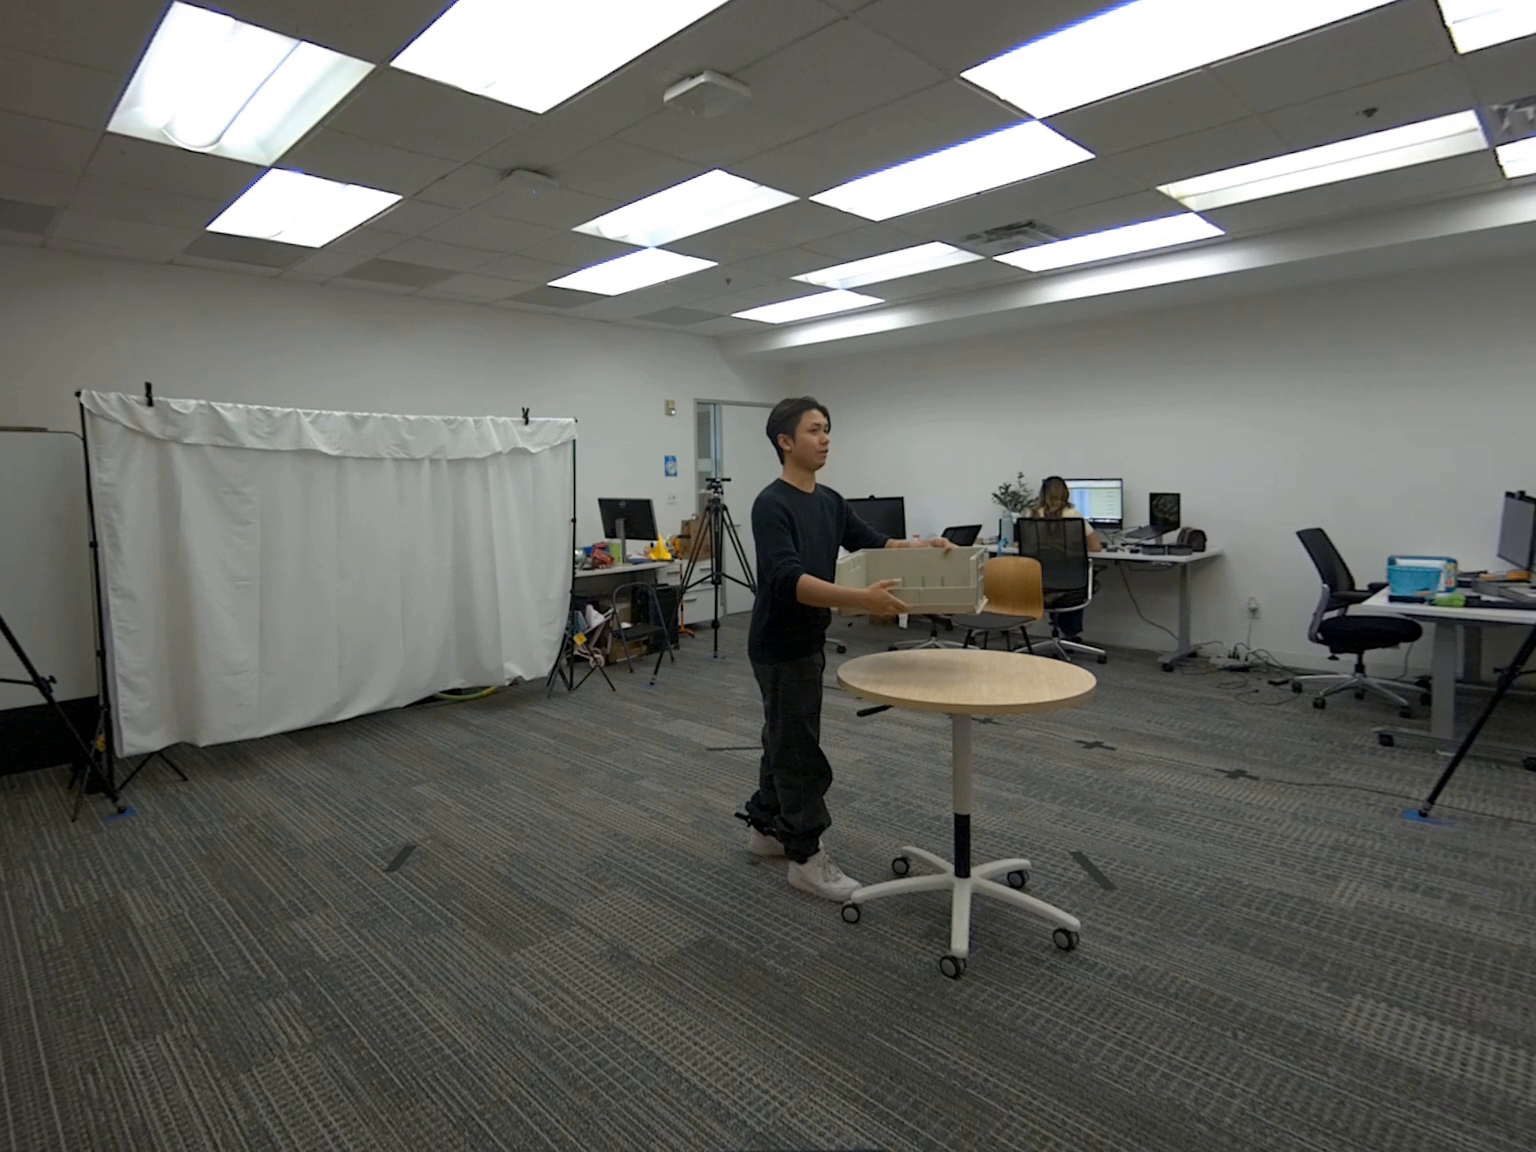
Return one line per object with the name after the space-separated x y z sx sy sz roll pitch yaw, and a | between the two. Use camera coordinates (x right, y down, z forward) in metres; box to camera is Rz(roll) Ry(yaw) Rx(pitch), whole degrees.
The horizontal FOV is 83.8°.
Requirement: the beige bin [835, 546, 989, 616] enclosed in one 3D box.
0.460 0.016 2.716 0.430 0.188 0.371 -2 4 20 | beige bin
